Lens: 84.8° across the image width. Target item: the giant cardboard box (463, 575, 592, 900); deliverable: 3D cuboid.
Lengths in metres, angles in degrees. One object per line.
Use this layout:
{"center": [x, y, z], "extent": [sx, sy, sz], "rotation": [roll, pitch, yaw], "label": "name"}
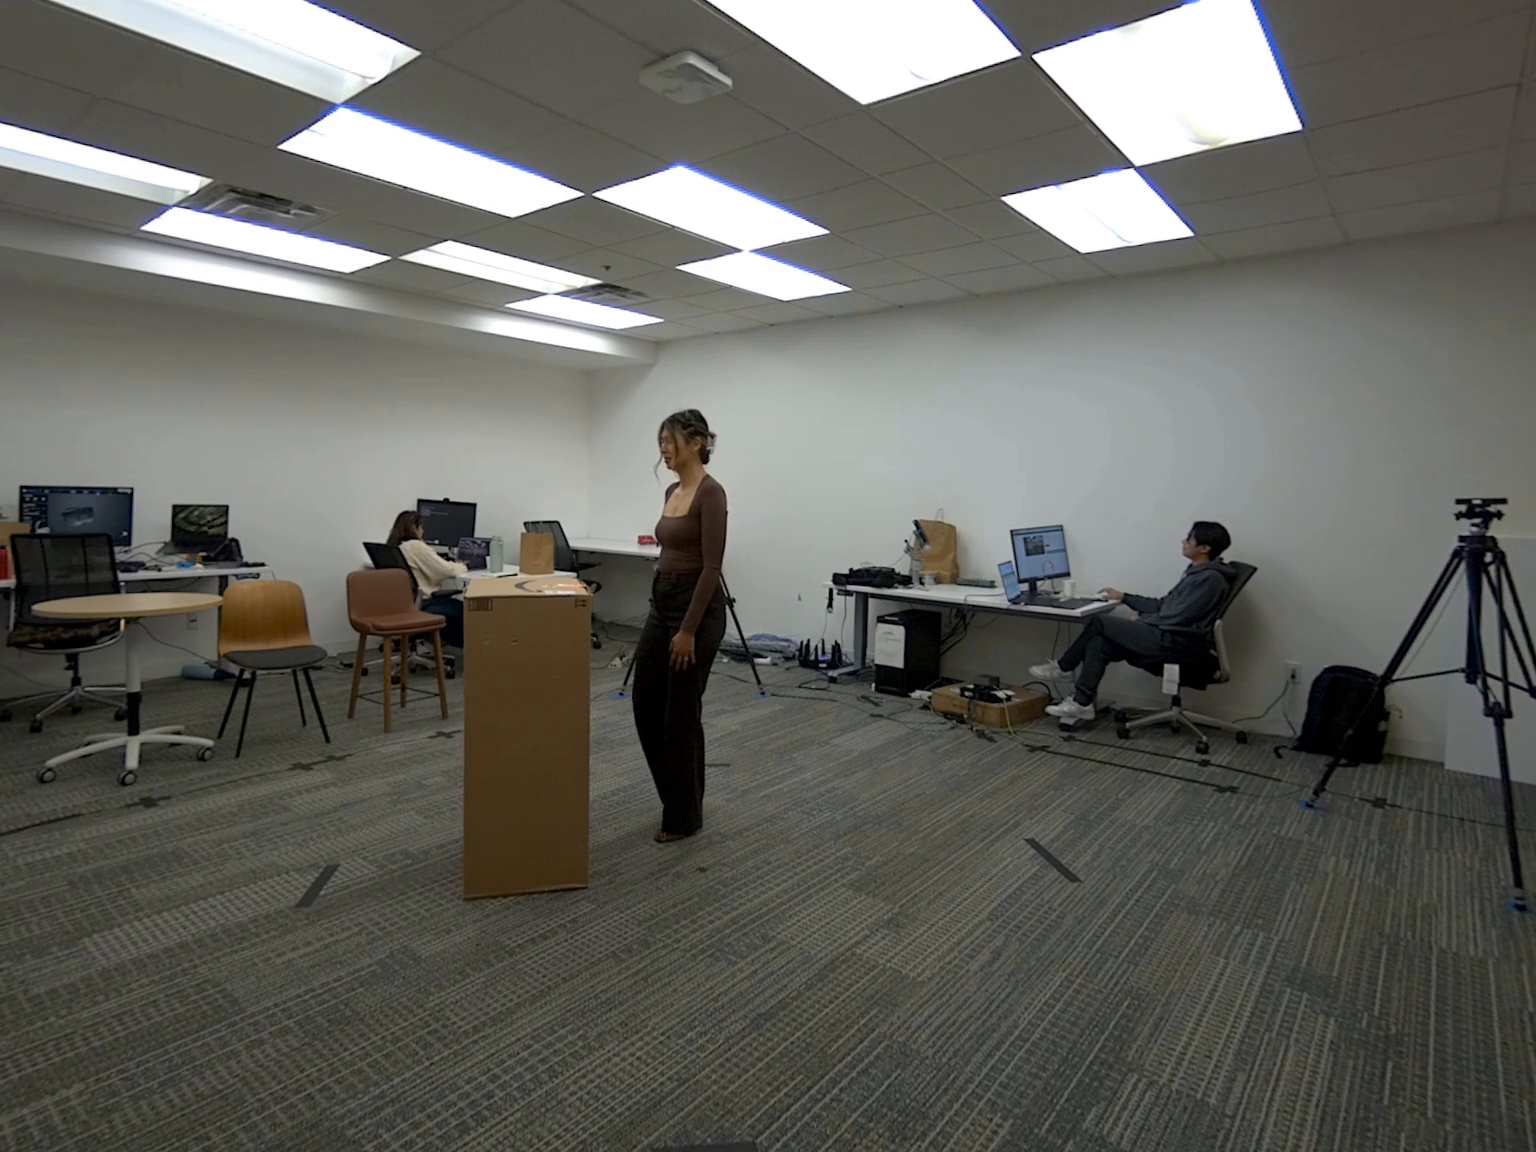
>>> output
{"center": [-0.909, 0.539, 3.143], "extent": [0.440, 1.024, 0.595], "rotation": [0, 3, -16], "label": "giant cardboard box"}
